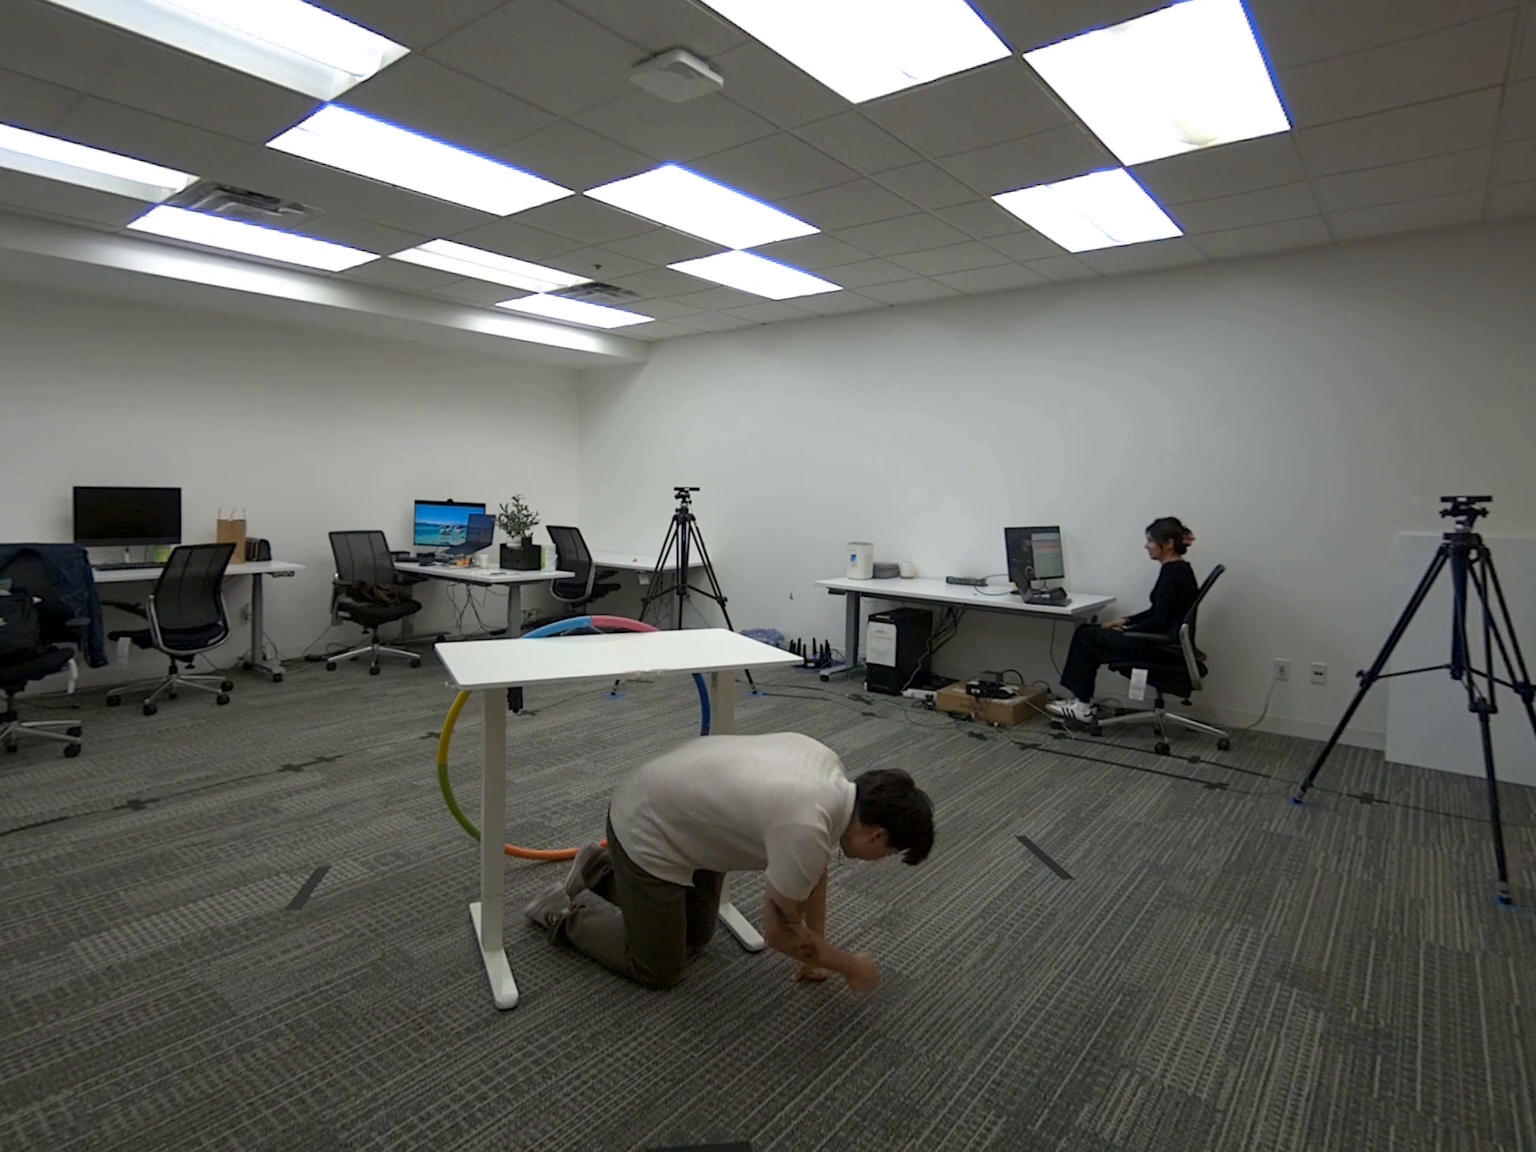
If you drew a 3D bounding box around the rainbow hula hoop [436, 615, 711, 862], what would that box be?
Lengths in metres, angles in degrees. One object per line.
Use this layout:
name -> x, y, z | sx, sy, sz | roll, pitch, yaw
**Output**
rainbow hula hoop -> -0.684, 0.599, 3.040 | 0.955, 0.965, 0.037 | -1, 20, -25
